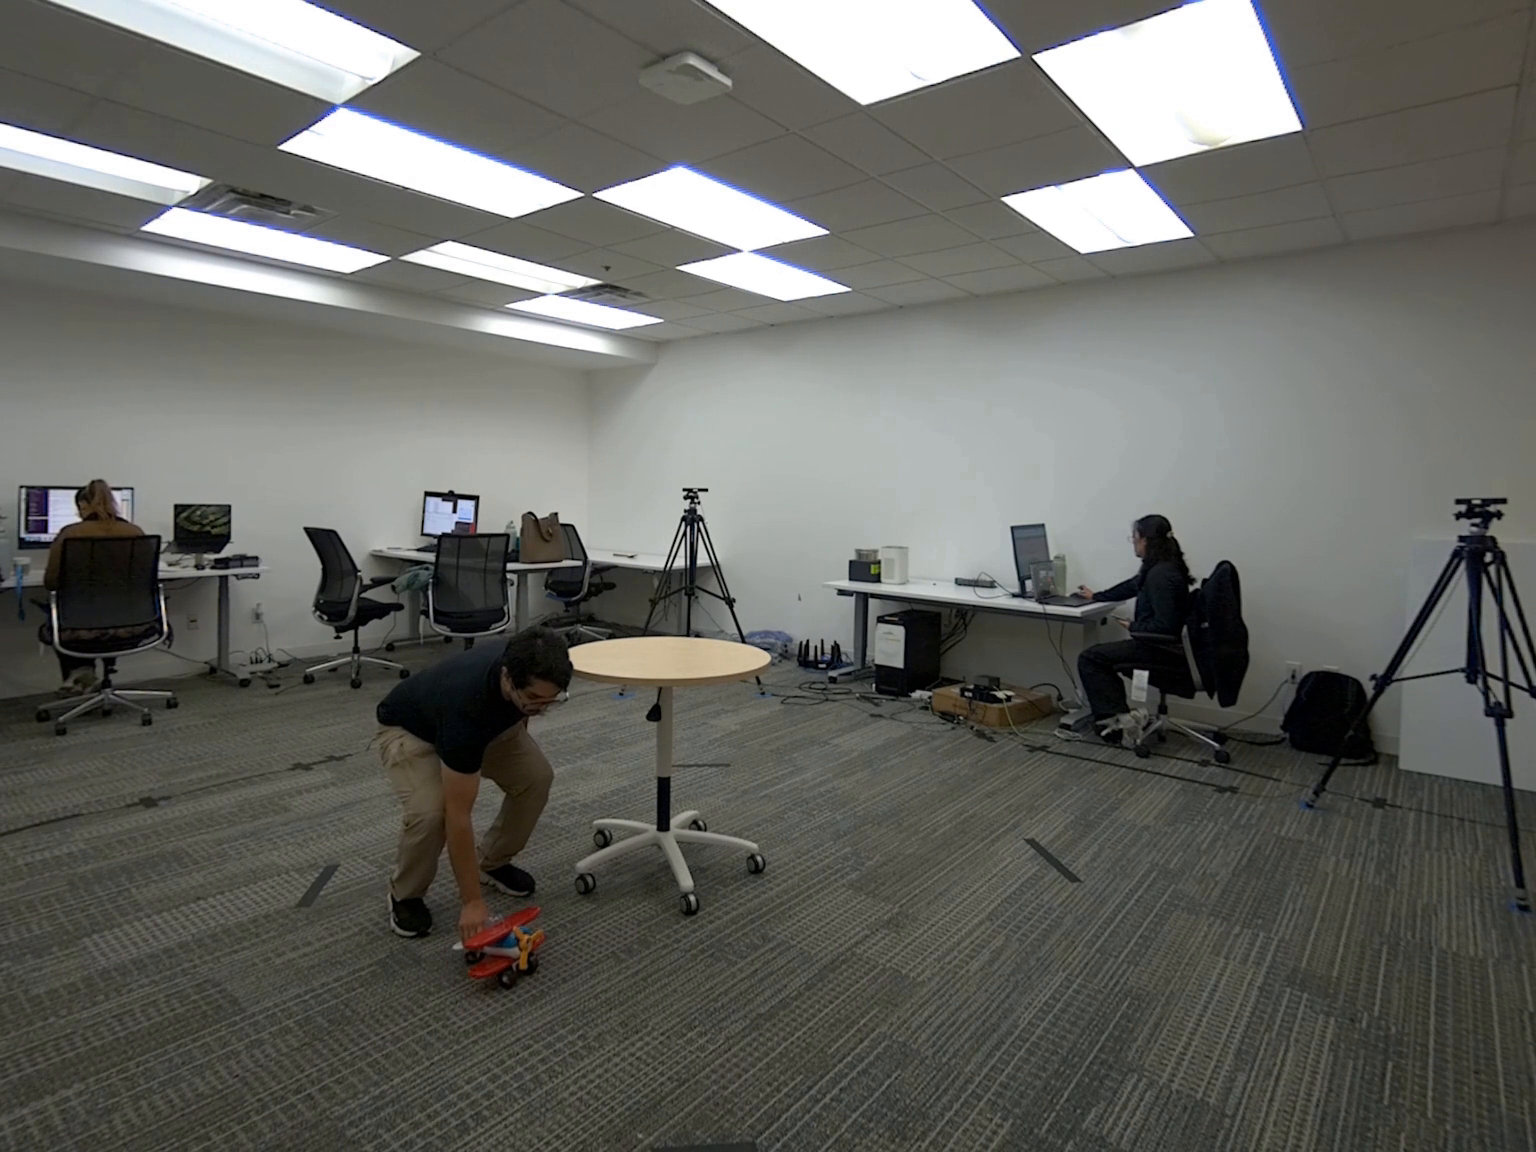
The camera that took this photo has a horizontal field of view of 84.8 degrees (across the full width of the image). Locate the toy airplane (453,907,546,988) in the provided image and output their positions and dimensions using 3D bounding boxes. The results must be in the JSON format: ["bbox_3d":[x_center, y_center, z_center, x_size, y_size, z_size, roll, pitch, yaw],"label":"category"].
[{"bbox_3d":[-0.790,1.058,2.415,0.260,0.156,0.251,2,4,2],"label":"toy airplane"}]
